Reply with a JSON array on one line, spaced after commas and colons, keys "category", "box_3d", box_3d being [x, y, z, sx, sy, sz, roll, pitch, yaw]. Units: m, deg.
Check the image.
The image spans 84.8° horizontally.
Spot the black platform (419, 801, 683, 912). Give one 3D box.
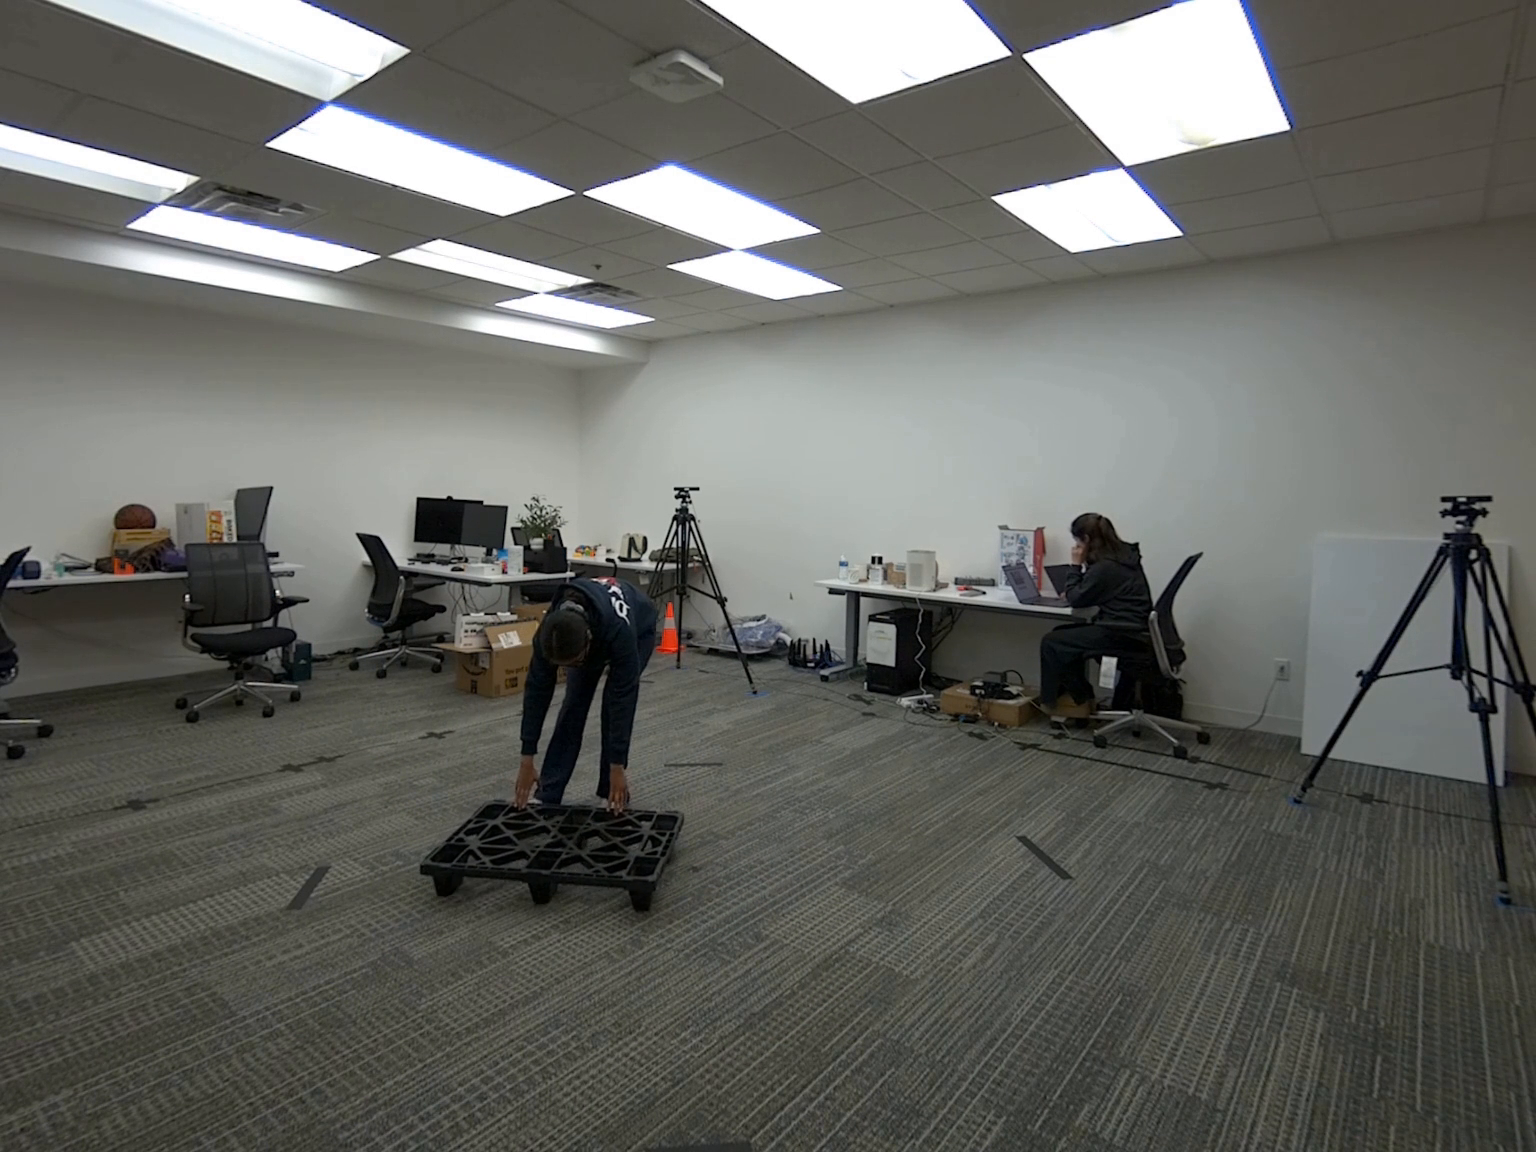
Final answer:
[{"category": "black platform", "box_3d": [-0.753, 0.994, 3.062, 0.811, 0.143, 0.603, 2, 5, 6]}]
